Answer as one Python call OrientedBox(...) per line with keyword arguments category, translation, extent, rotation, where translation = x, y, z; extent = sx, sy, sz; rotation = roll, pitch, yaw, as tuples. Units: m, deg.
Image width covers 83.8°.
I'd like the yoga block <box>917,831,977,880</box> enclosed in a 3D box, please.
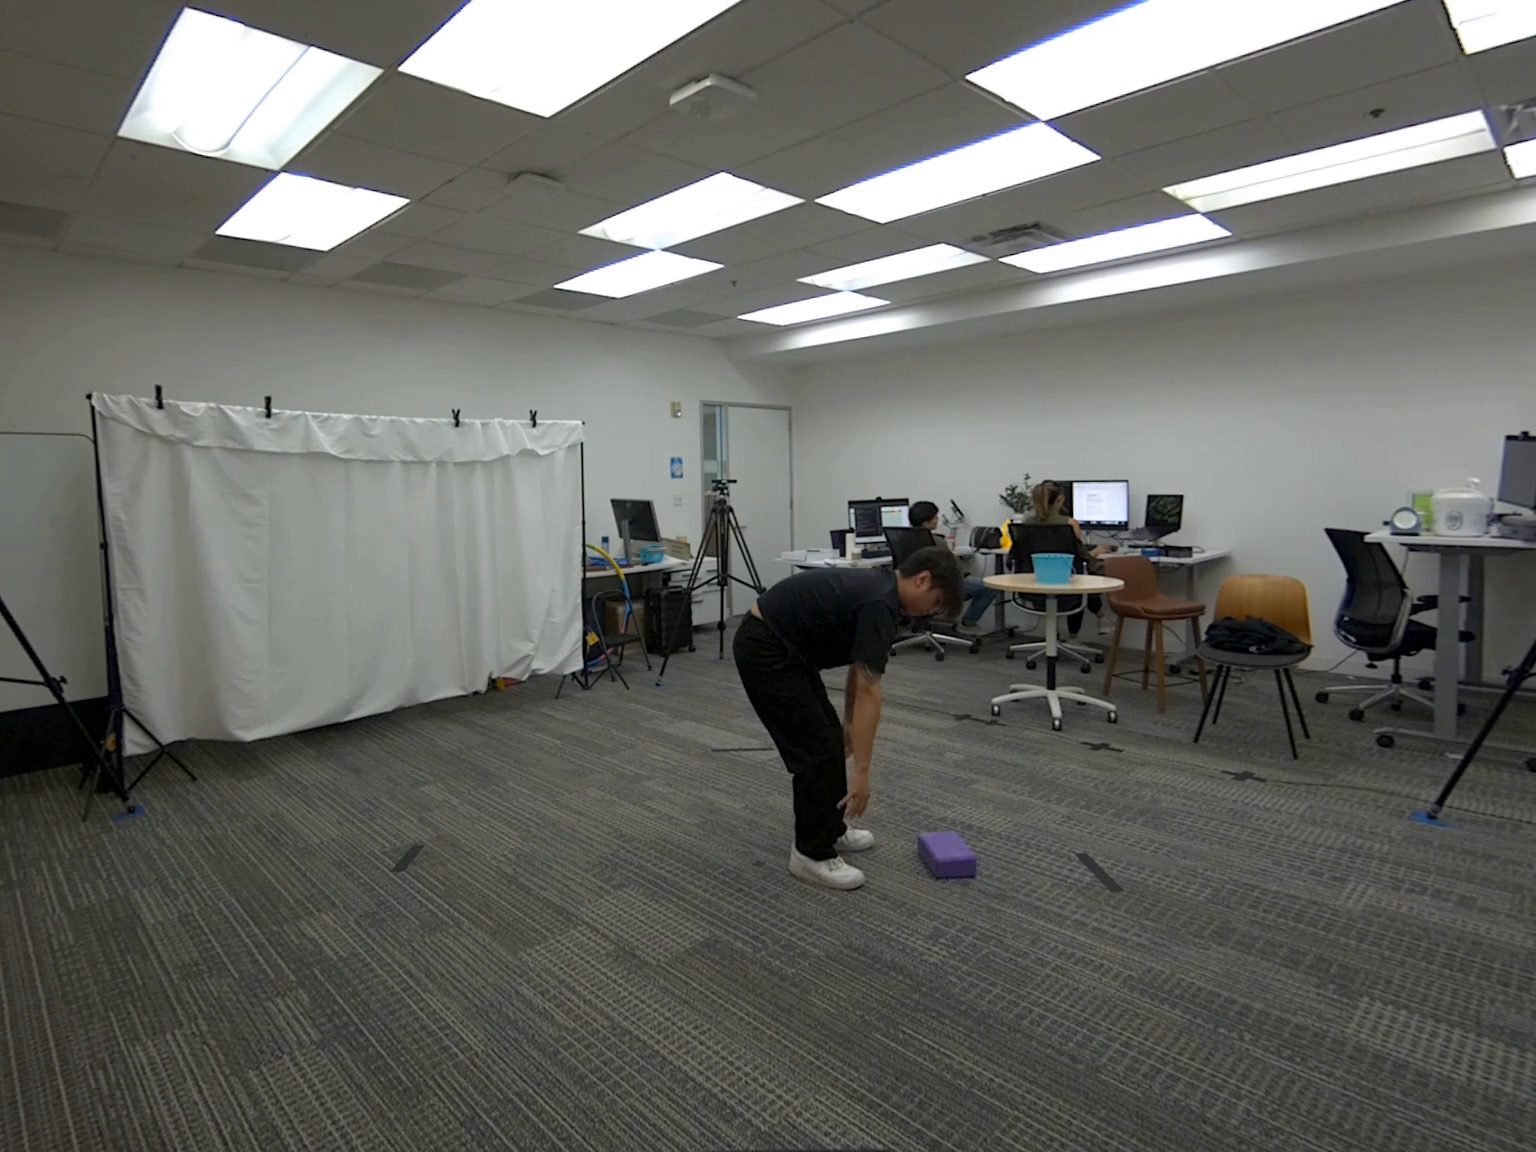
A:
OrientedBox(category="yoga block", translation=(0.643, 0.997, 3.064), extent=(0.149, 0.076, 0.231), rotation=(-2, 5, -3))
